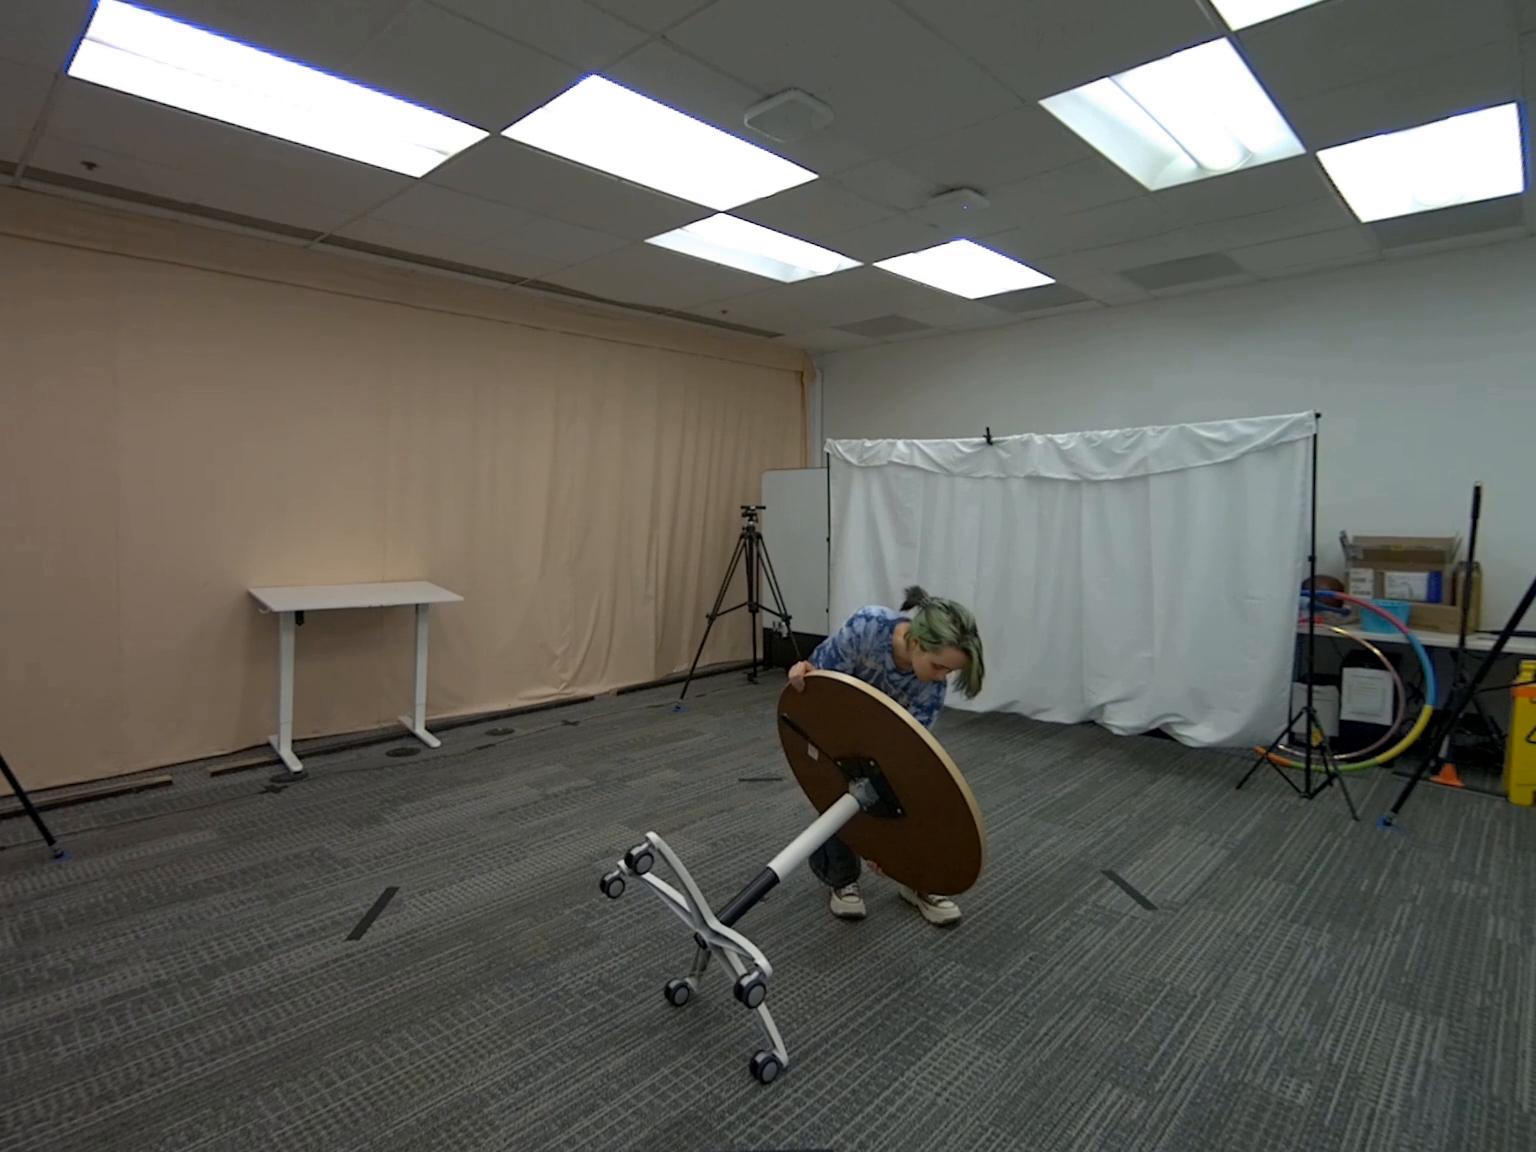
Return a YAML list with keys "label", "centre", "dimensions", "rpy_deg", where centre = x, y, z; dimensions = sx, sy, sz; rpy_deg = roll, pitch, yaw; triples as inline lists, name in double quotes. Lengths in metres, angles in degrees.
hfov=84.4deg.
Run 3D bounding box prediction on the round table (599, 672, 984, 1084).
- label: "round table"
  centre: [0.046, 0.793, 2.313]
  dimensions: [0.782, 0.751, 0.789]
  rpy_deg: [-33, 22, -32]
